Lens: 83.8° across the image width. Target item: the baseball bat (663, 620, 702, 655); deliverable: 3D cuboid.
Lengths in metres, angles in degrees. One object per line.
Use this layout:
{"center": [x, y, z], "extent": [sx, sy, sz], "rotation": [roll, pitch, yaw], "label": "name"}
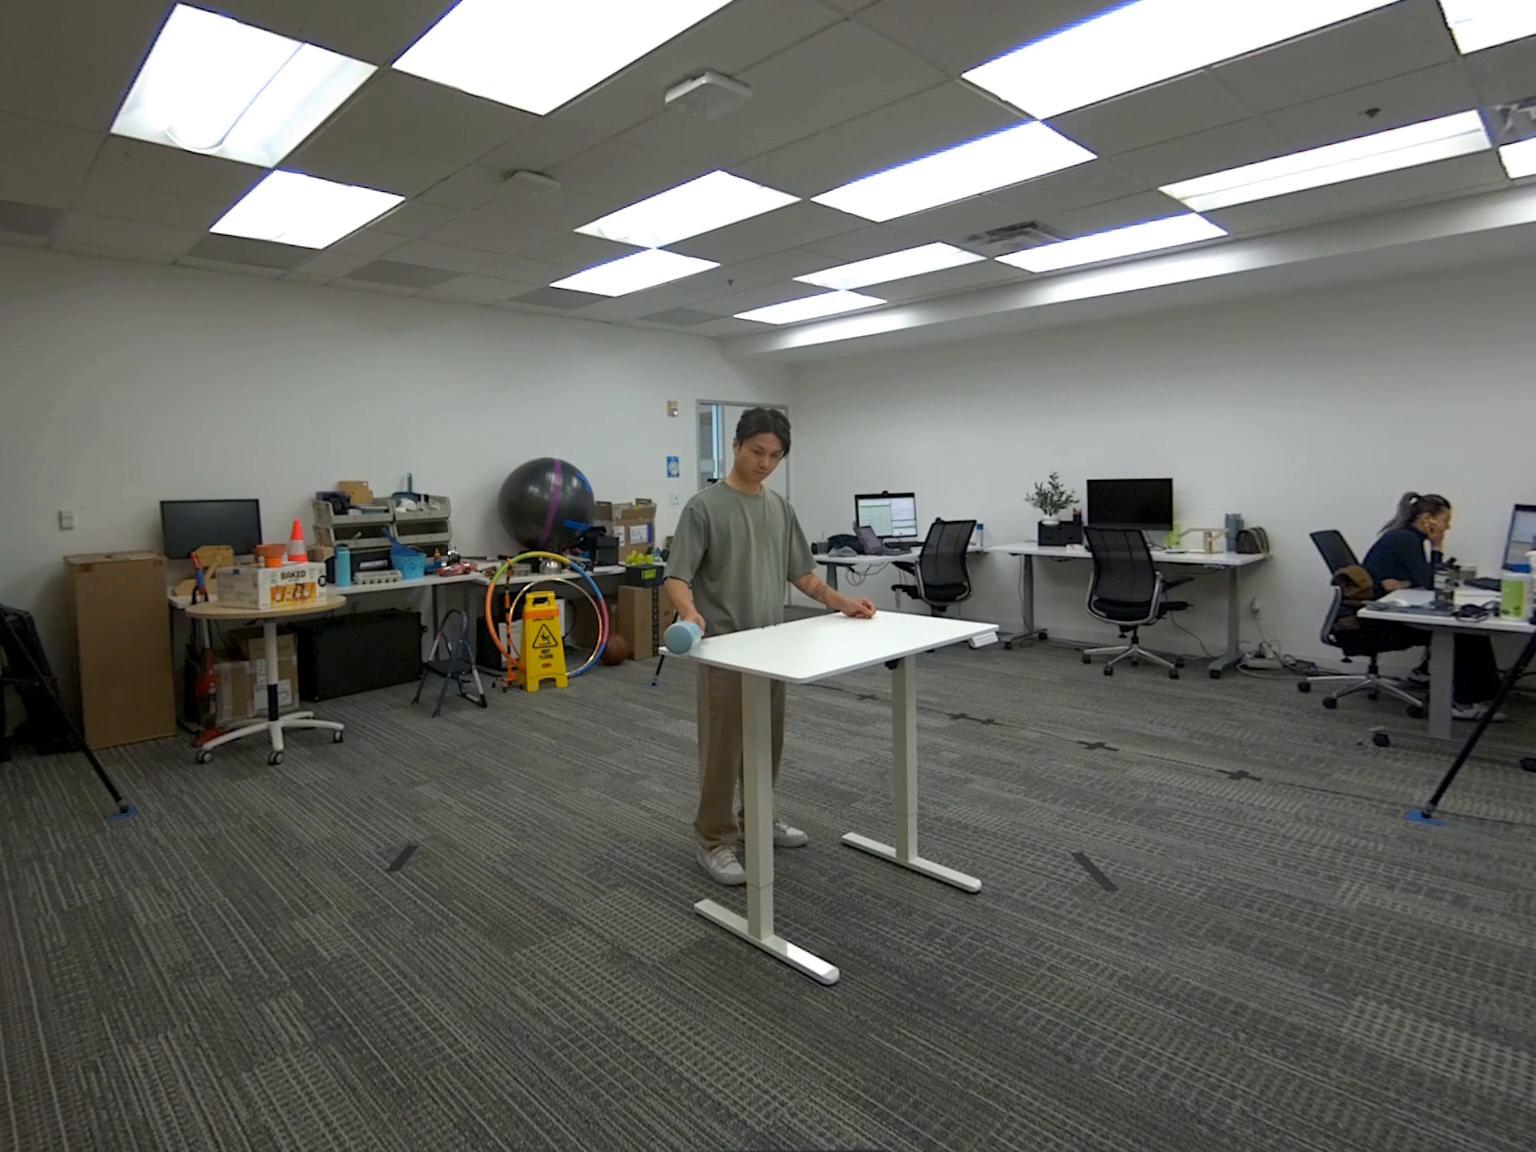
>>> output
{"center": [-0.232, 0.180, 2.601], "extent": [0.089, 0.089, 0.541], "rotation": [-1, 0, 0], "label": "baseball bat"}
